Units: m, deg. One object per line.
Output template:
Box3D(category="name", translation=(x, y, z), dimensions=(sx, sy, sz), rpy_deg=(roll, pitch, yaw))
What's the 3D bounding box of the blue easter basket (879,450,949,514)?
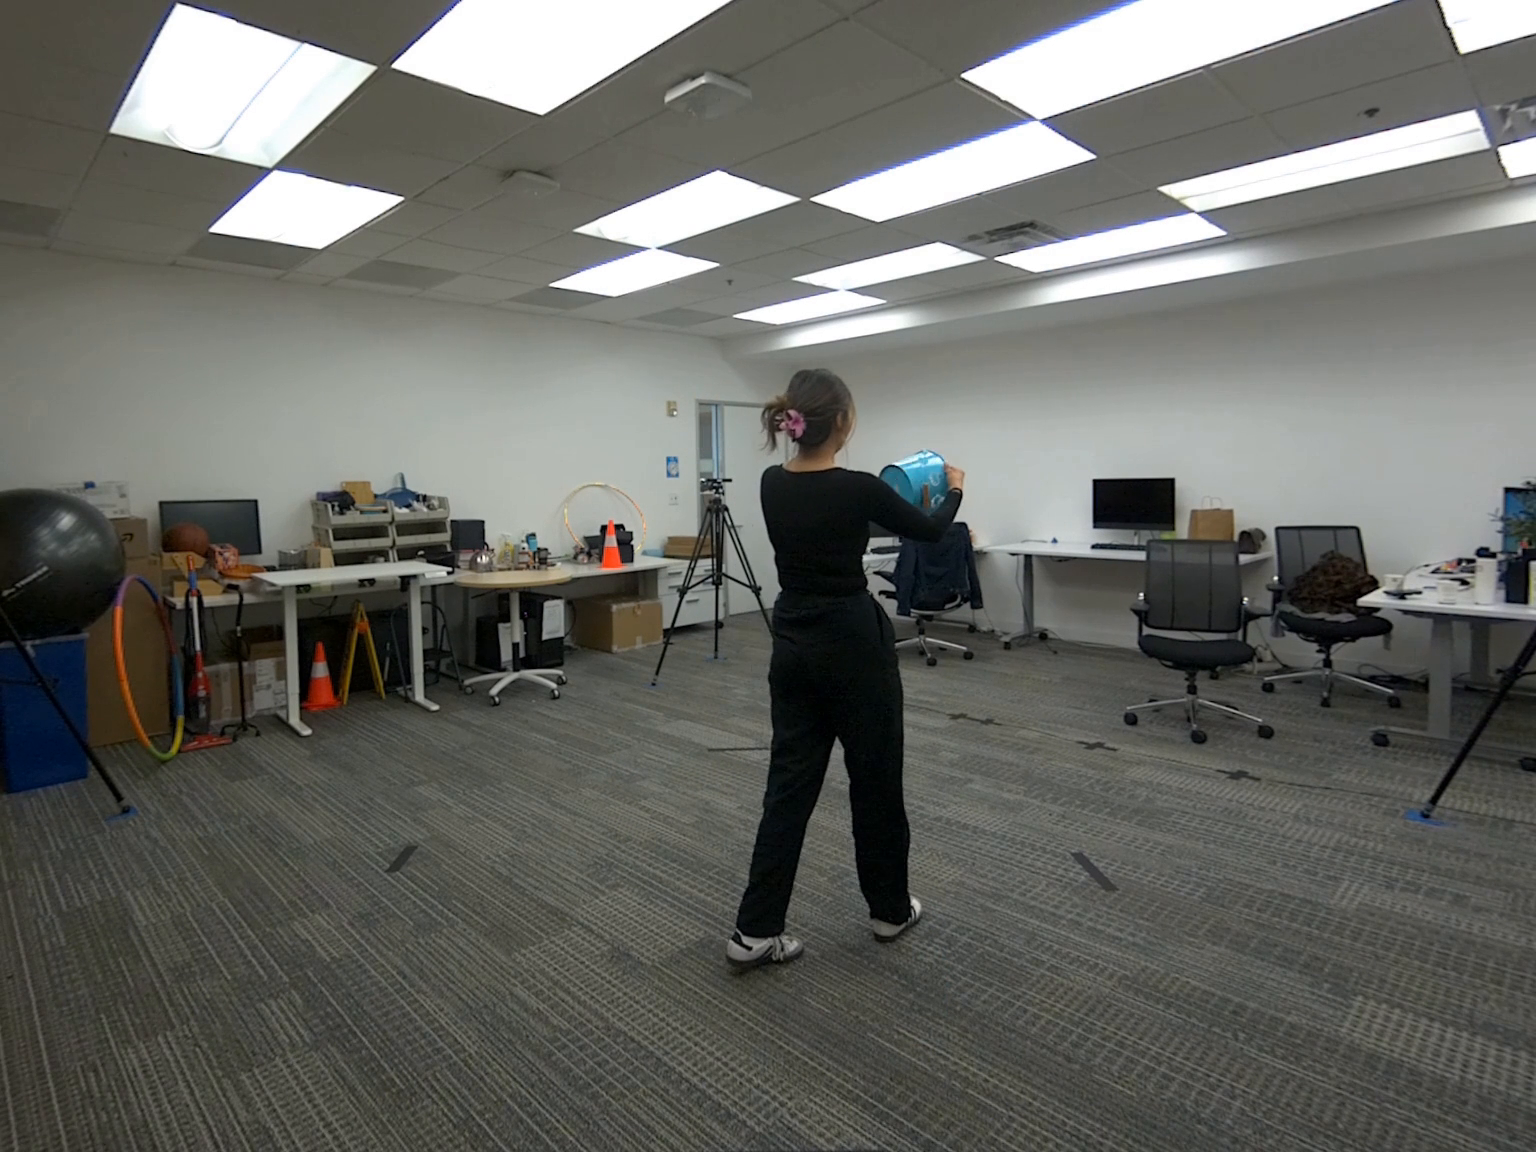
Box3D(category="blue easter basket", translation=(0.484, -0.299, 2.818), dimensions=(0.153, 0.241, 0.250), rpy_deg=(-16, 11, -28))
